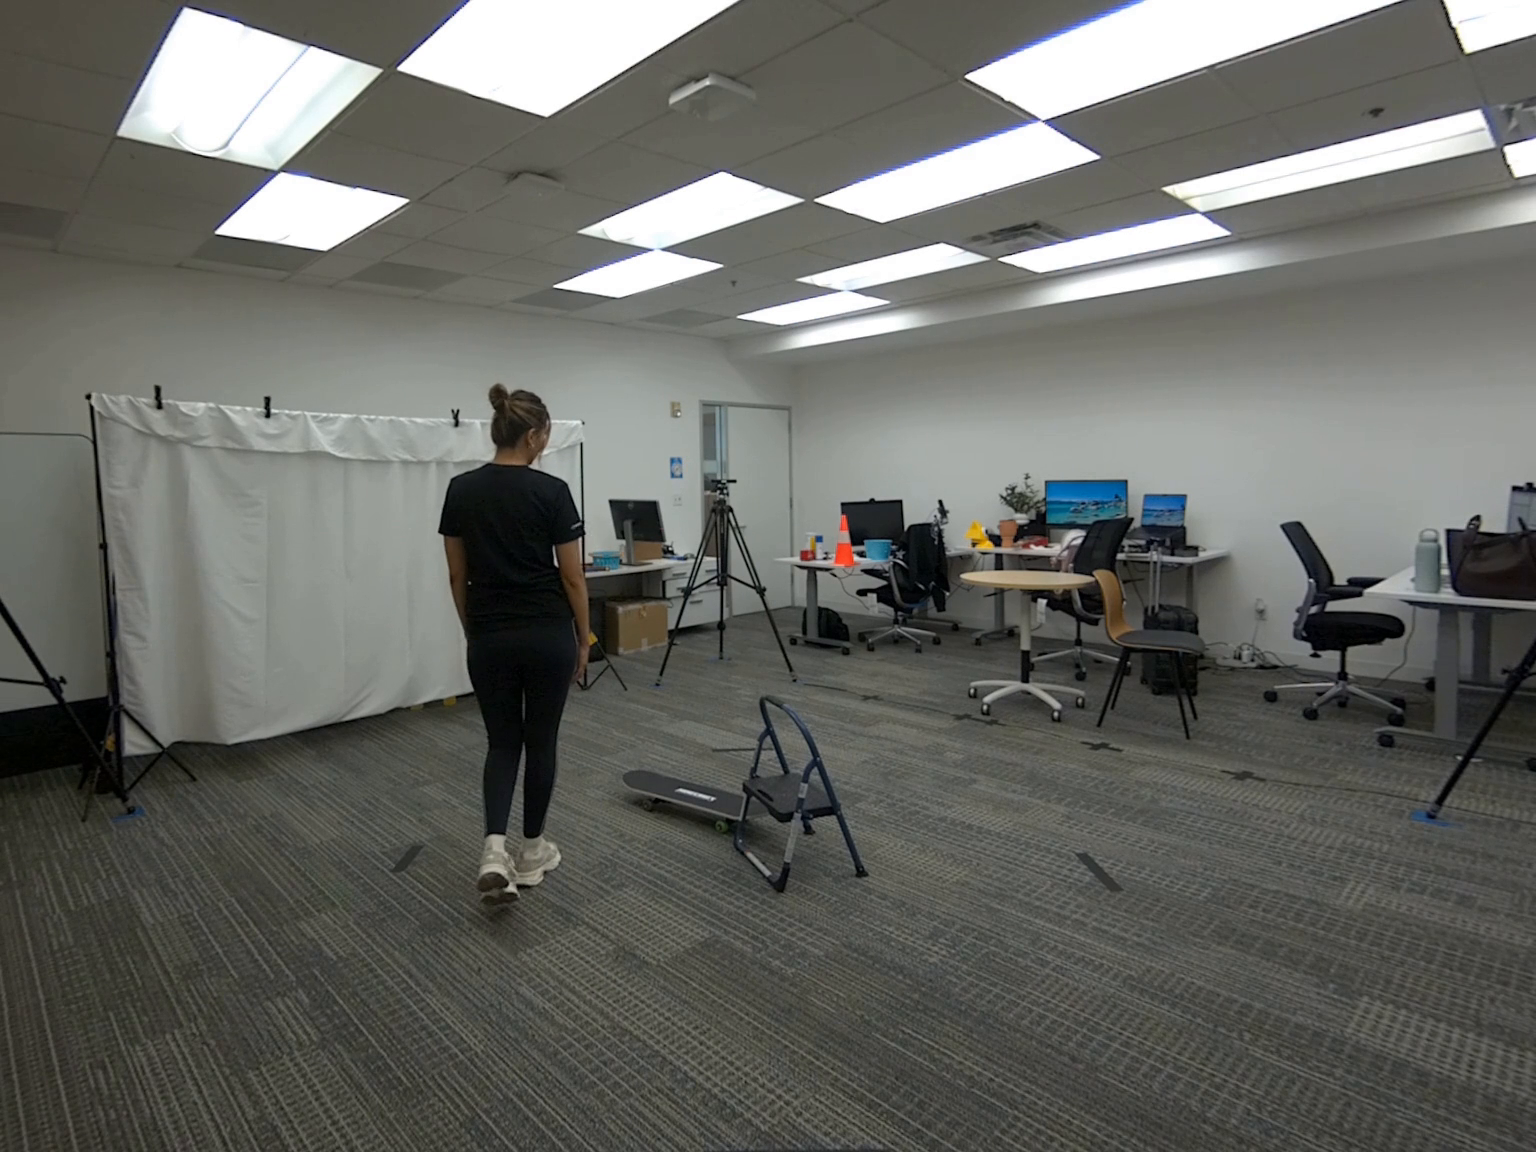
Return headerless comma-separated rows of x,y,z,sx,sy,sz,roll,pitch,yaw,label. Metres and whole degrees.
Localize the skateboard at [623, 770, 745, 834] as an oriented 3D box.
-0.299,0.945,3.569,0.808,0.110,0.189,4,8,37,skateboard
